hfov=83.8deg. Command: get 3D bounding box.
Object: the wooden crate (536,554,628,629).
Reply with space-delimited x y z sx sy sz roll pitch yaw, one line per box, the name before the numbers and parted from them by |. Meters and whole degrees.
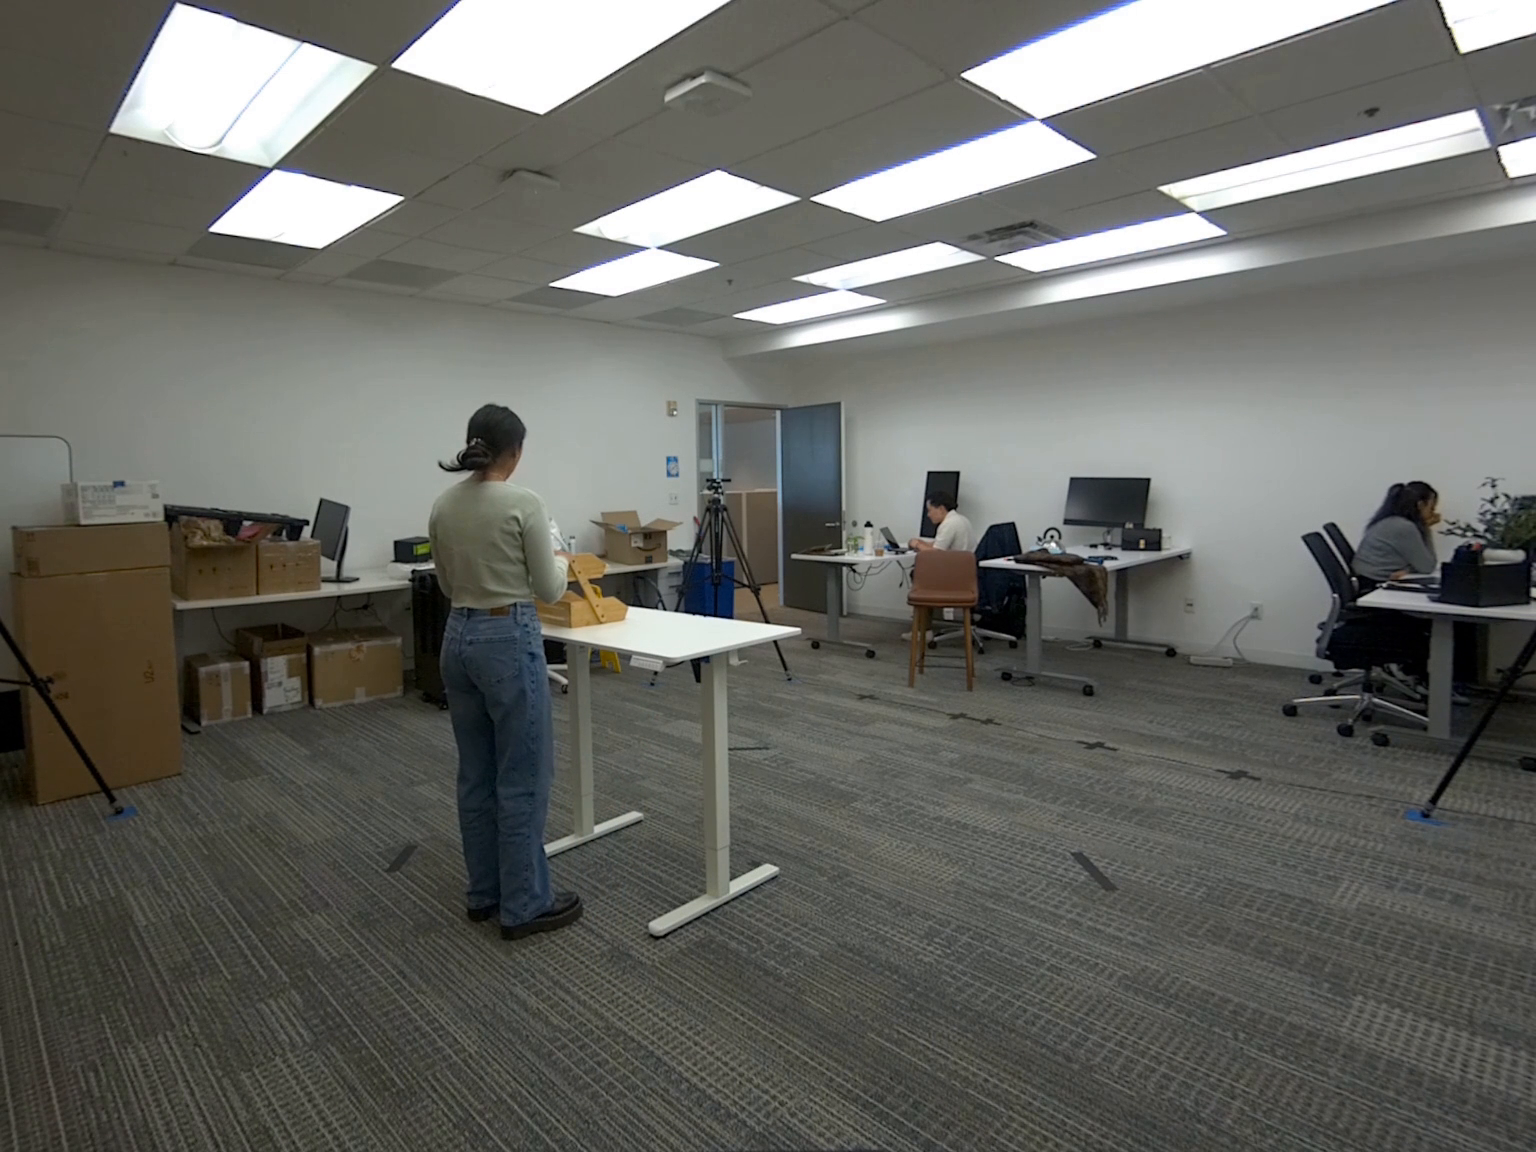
wooden crate | -0.735 0.037 3.189 0.294 0.272 0.334 -6 6 -43
